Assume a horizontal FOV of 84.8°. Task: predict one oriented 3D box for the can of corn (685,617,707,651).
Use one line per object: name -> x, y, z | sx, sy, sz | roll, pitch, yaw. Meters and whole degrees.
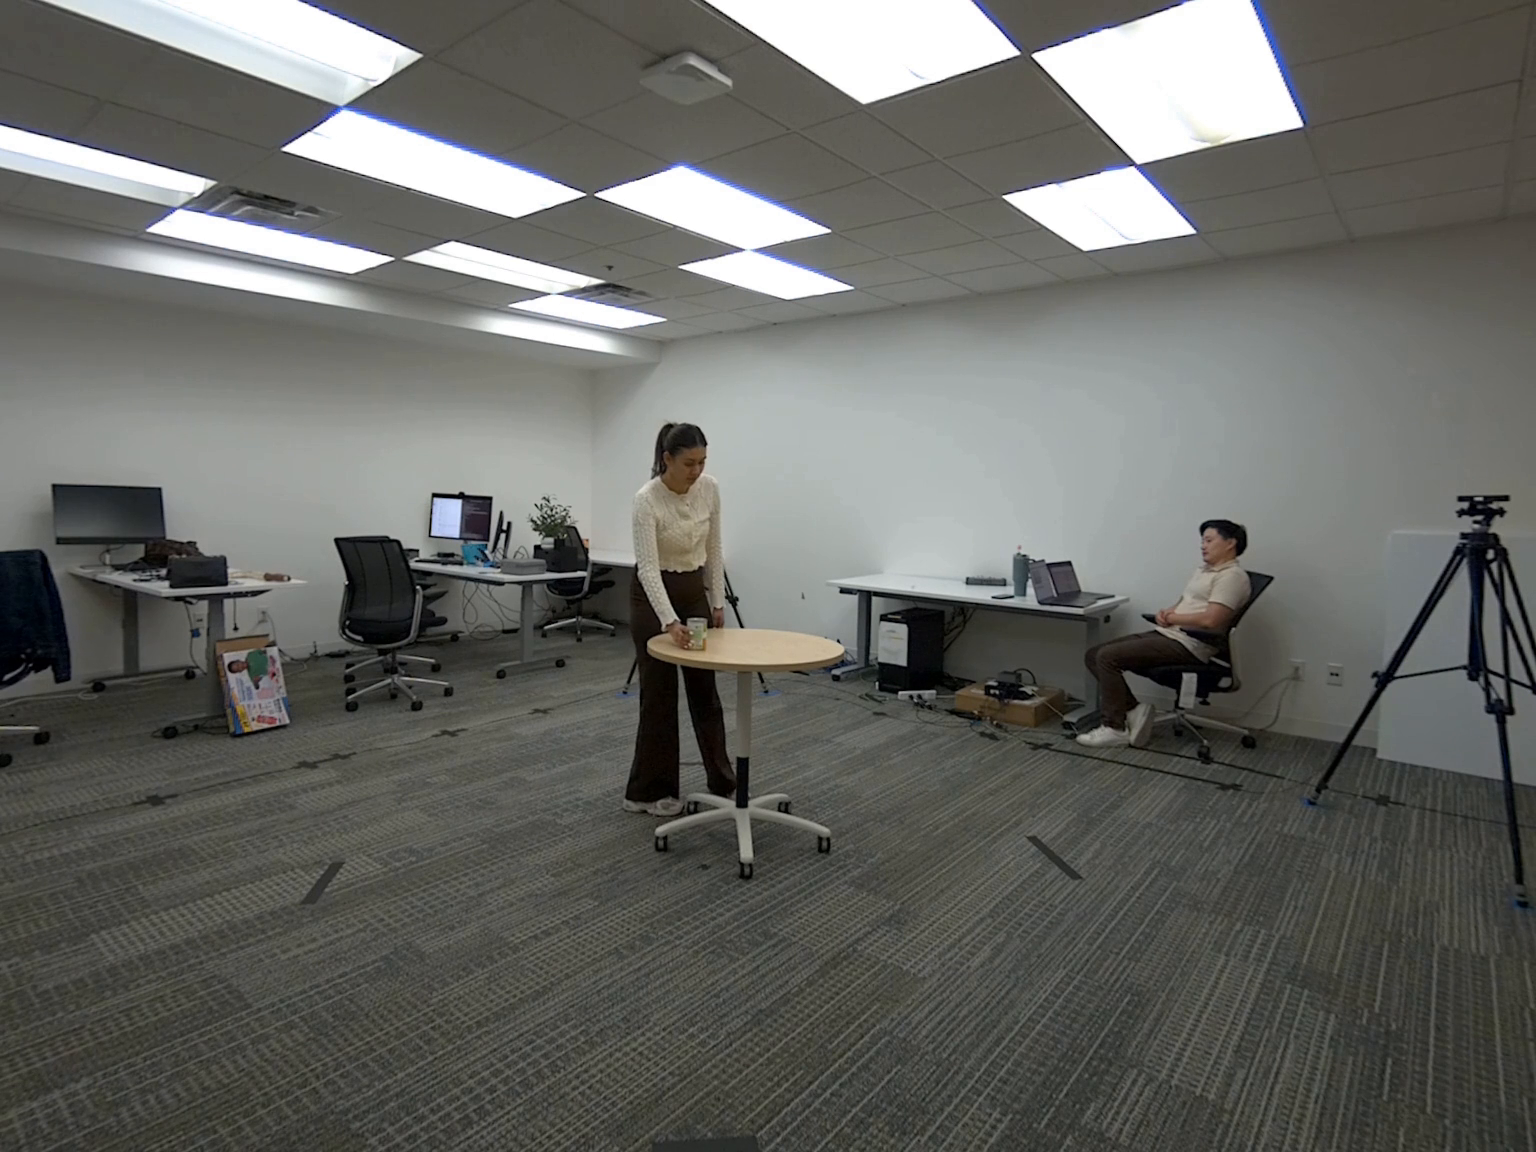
can of corn -> -0.279, 0.214, 3.184 | 0.074, 0.111, 0.074 | 1, 3, -2
